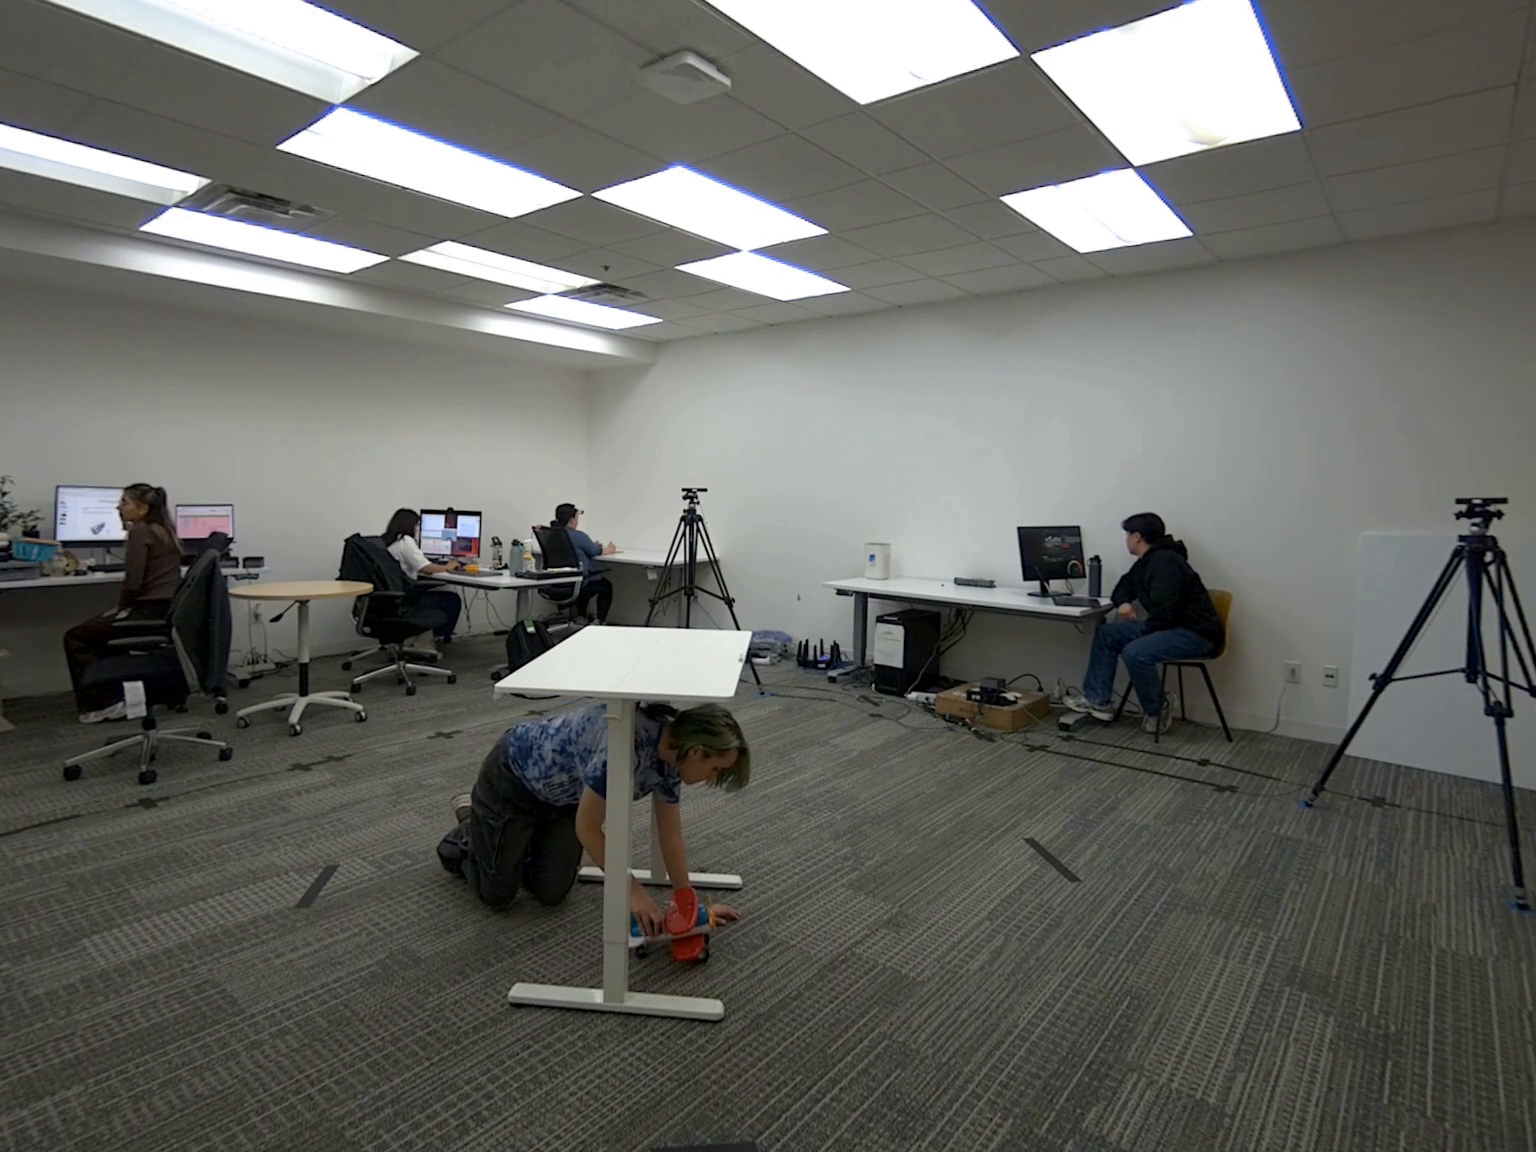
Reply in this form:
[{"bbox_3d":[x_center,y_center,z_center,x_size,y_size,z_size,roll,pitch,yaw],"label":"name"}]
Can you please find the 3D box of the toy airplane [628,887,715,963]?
[{"bbox_3d":[-0.288,1.055,2.514,0.252,0.156,0.259,-1,6,-30],"label":"toy airplane"}]
